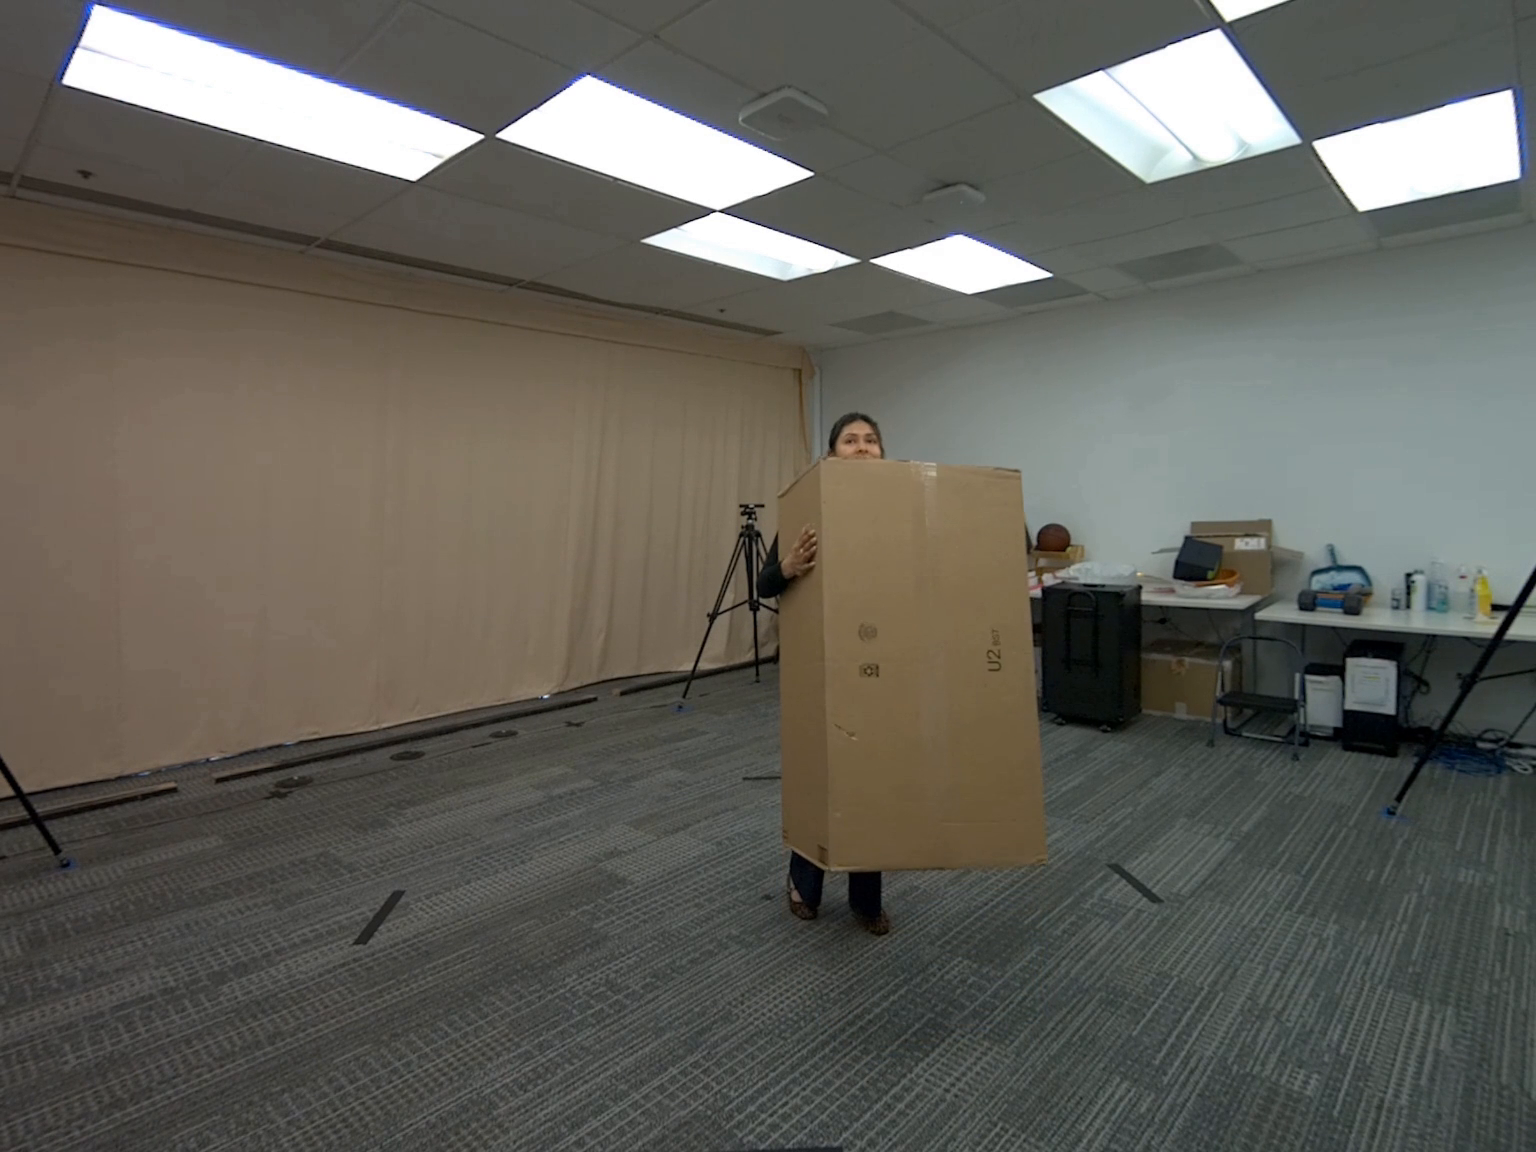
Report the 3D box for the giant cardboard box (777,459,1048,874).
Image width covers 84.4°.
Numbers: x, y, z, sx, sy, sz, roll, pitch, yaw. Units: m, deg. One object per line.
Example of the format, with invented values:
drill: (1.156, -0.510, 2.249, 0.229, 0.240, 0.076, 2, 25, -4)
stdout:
giant cardboard box: (0.367, 0.244, 2.327, 0.570, 1.032, 0.429, 1, -10, -12)
